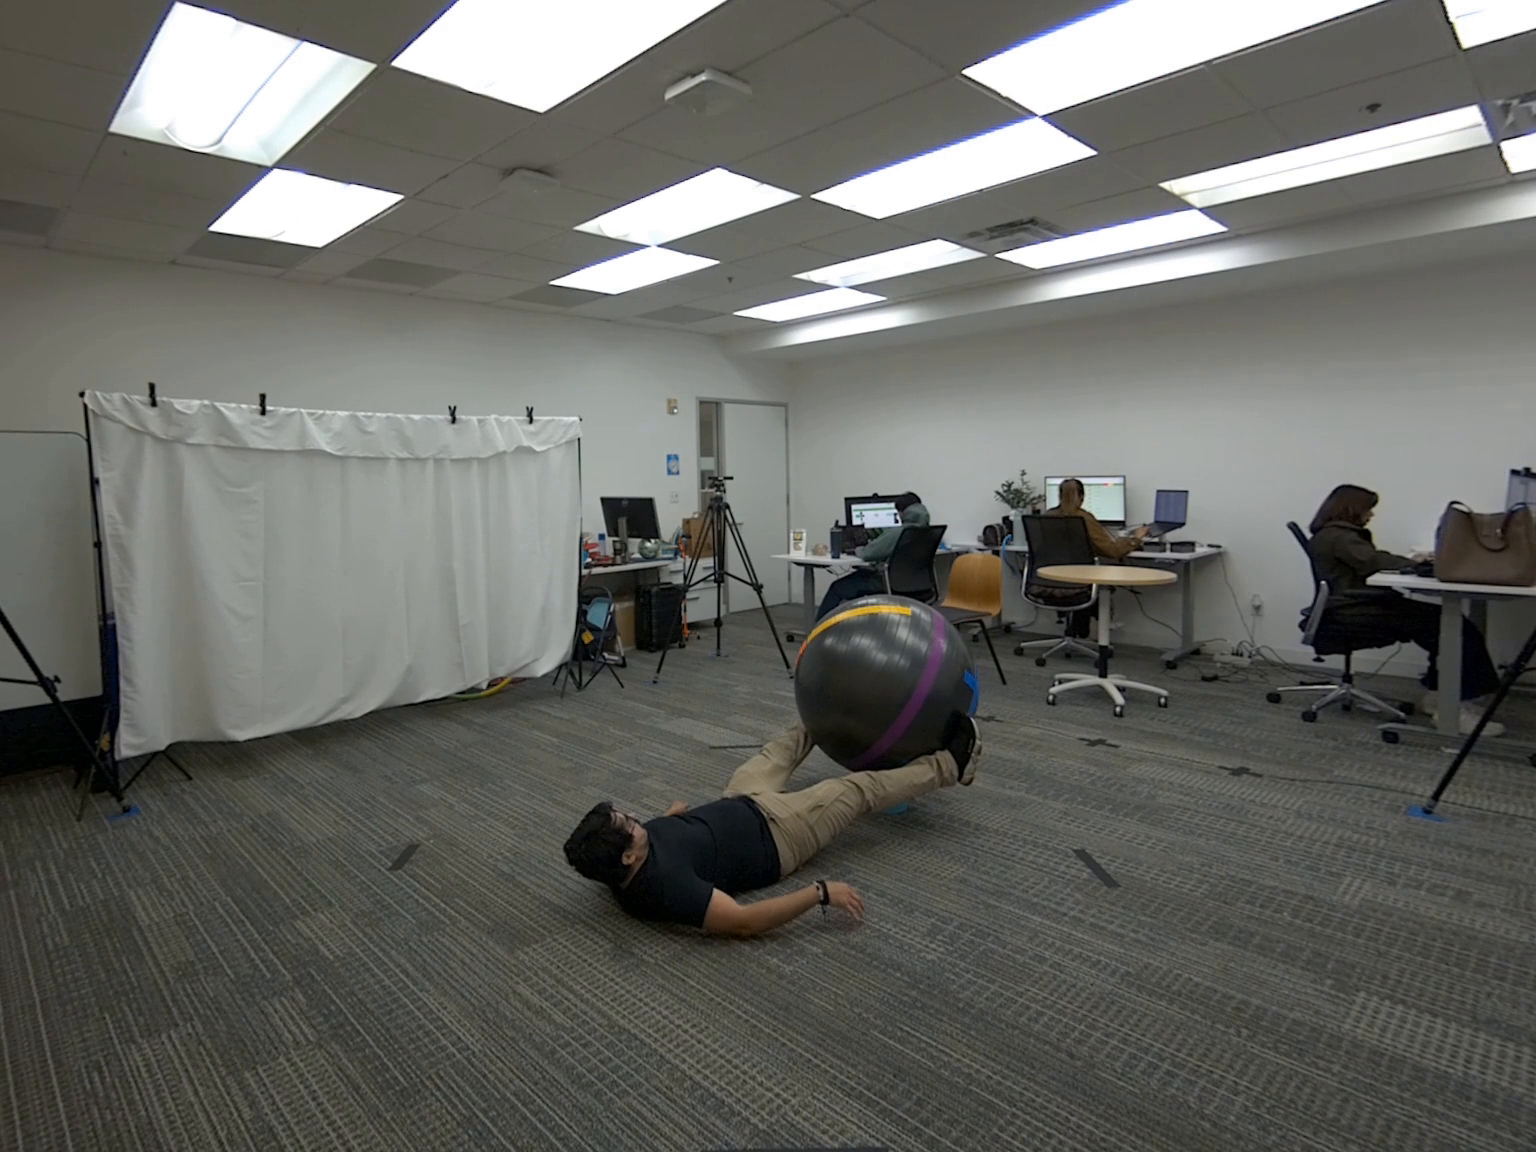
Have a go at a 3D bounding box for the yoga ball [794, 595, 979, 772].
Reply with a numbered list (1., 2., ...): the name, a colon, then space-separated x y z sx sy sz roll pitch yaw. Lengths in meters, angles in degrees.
1. yoga ball: 0.490 0.460 3.587 0.757 0.755 0.762 -1 5 -2
